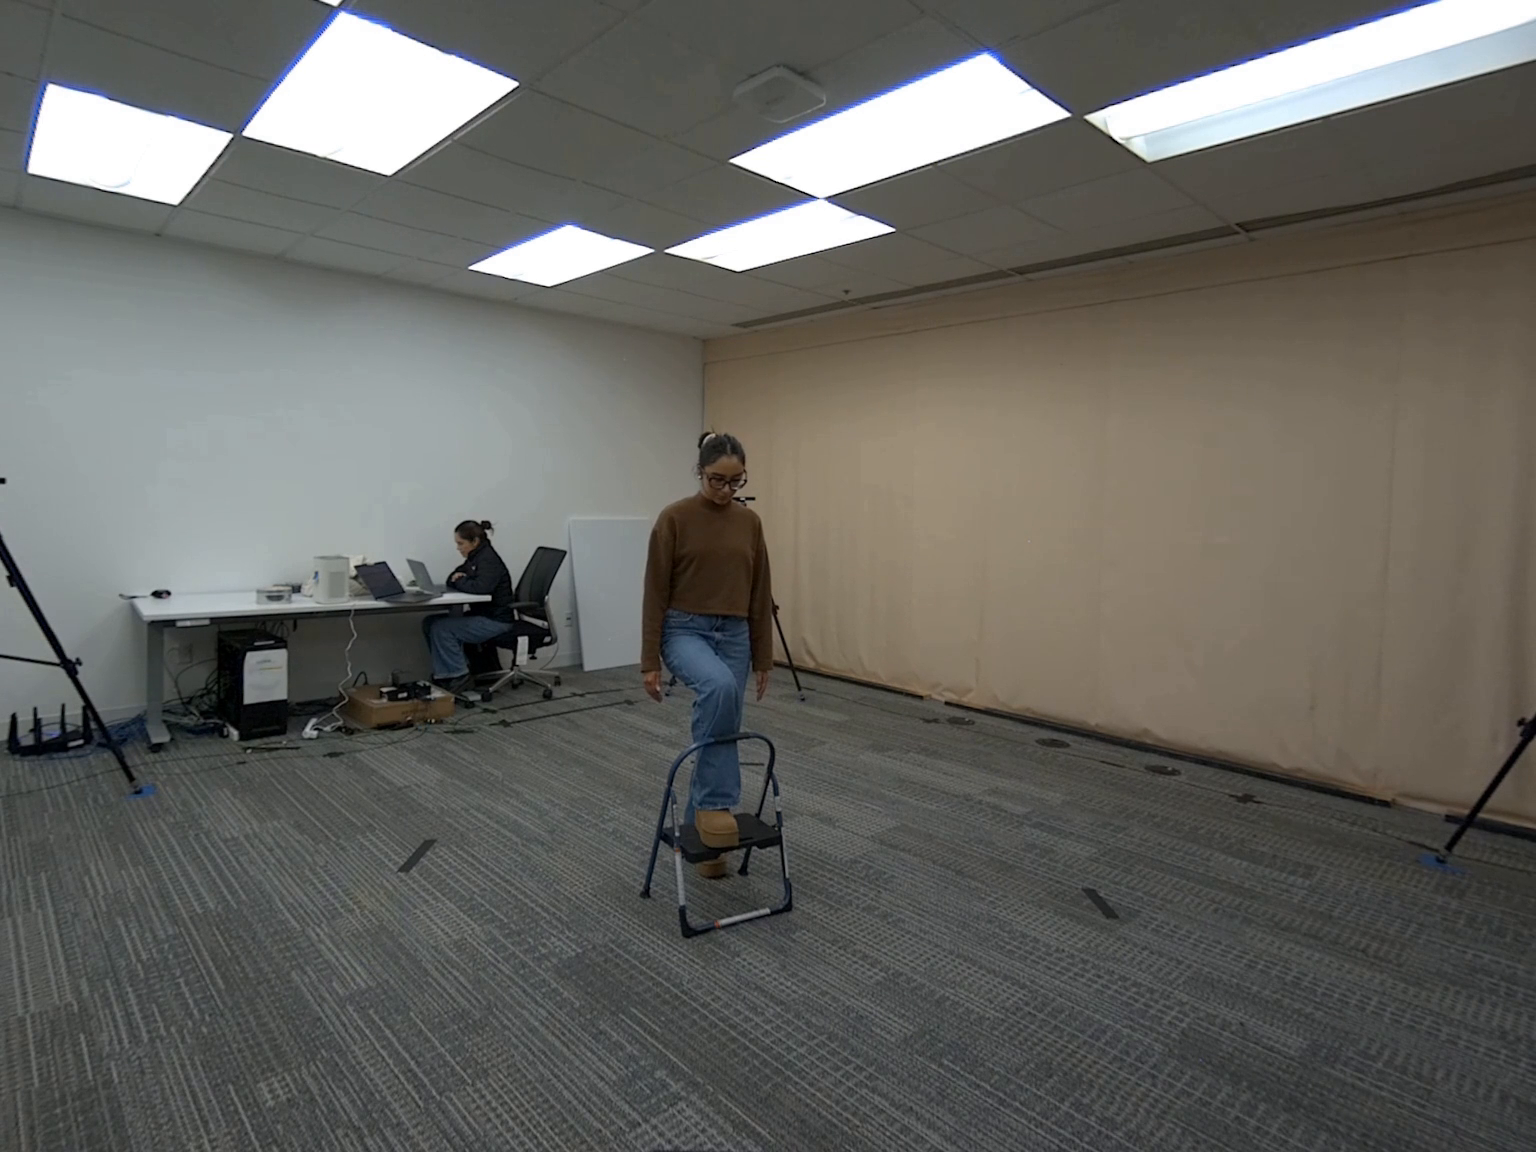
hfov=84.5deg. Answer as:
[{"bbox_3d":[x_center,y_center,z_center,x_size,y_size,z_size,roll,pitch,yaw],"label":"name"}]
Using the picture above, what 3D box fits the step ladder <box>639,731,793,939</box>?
[{"bbox_3d":[-0.177,0.824,2.879,0.421,0.604,0.357,-1,4,-32],"label":"step ladder"}]
